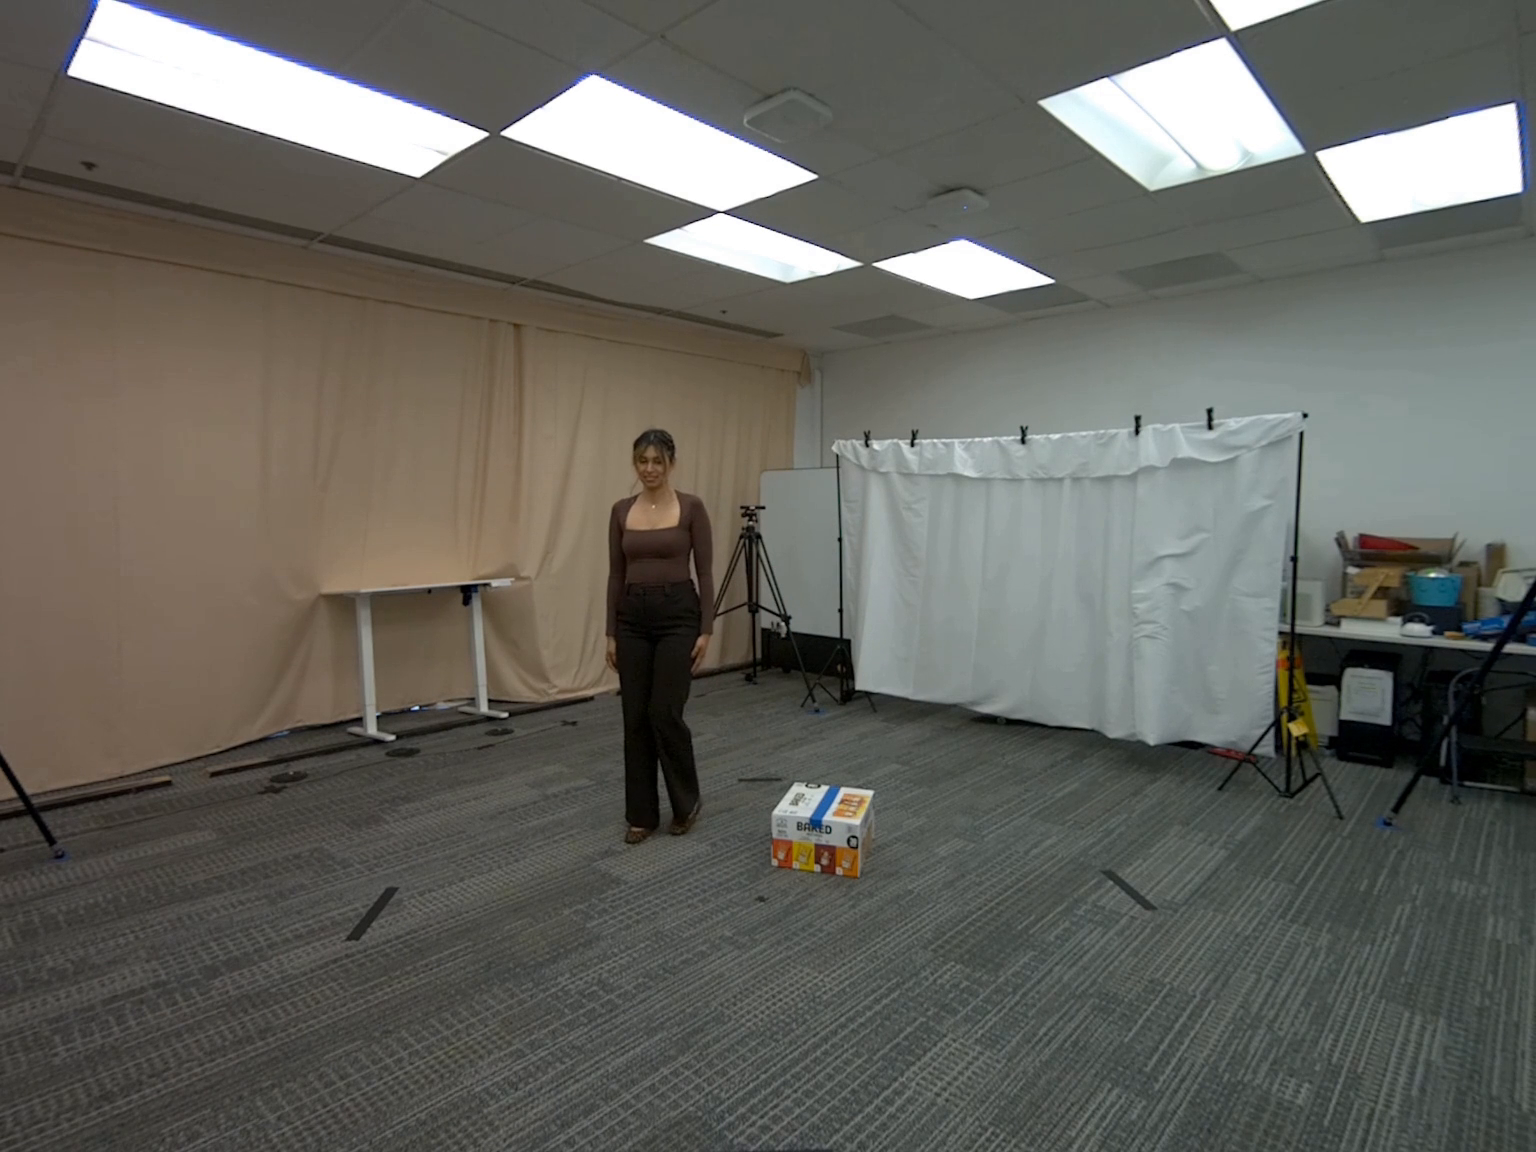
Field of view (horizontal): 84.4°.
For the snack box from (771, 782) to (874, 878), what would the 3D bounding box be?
[{"bbox_3d":[0.232,1.007,3.382,0.347,0.205,0.398,1,4,17],"label":"snack box"}]
